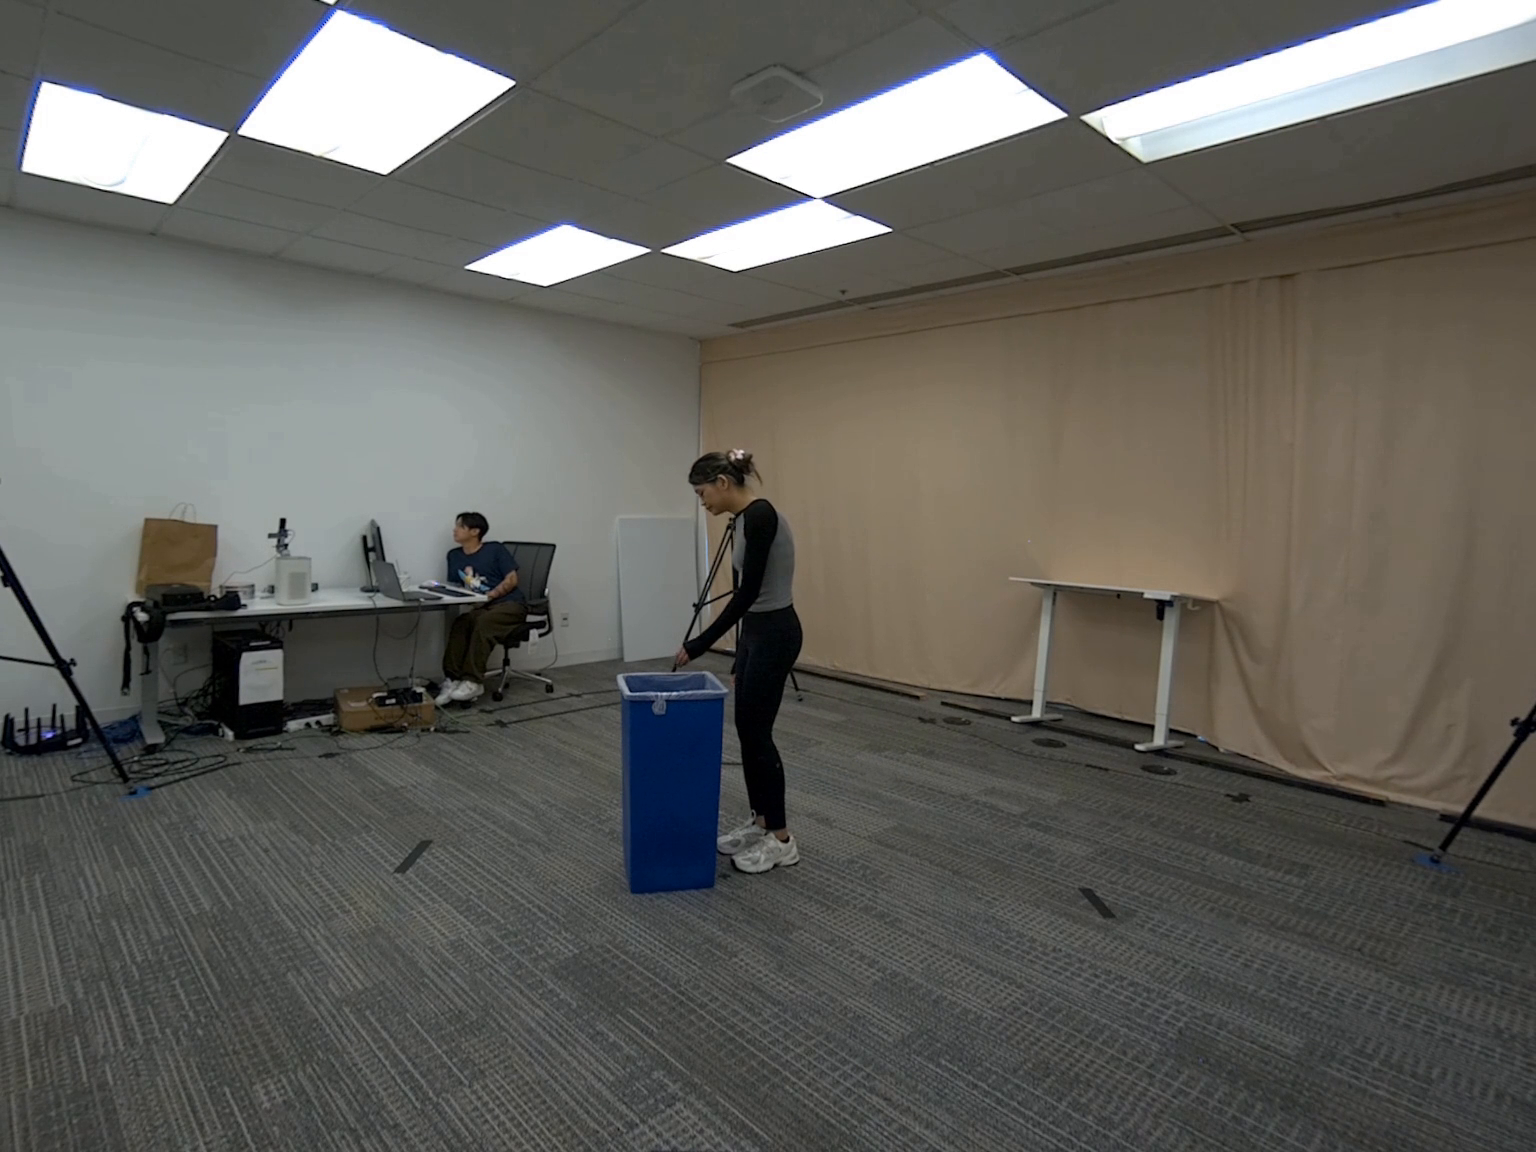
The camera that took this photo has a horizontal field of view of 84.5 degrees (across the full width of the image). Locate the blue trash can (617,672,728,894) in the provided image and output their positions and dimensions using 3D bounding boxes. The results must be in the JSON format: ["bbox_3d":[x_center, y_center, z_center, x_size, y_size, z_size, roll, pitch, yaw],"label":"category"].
[{"bbox_3d":[-0.374,0.744,3.105,0.374,0.712,0.379,1,3,-14],"label":"blue trash can"}]
